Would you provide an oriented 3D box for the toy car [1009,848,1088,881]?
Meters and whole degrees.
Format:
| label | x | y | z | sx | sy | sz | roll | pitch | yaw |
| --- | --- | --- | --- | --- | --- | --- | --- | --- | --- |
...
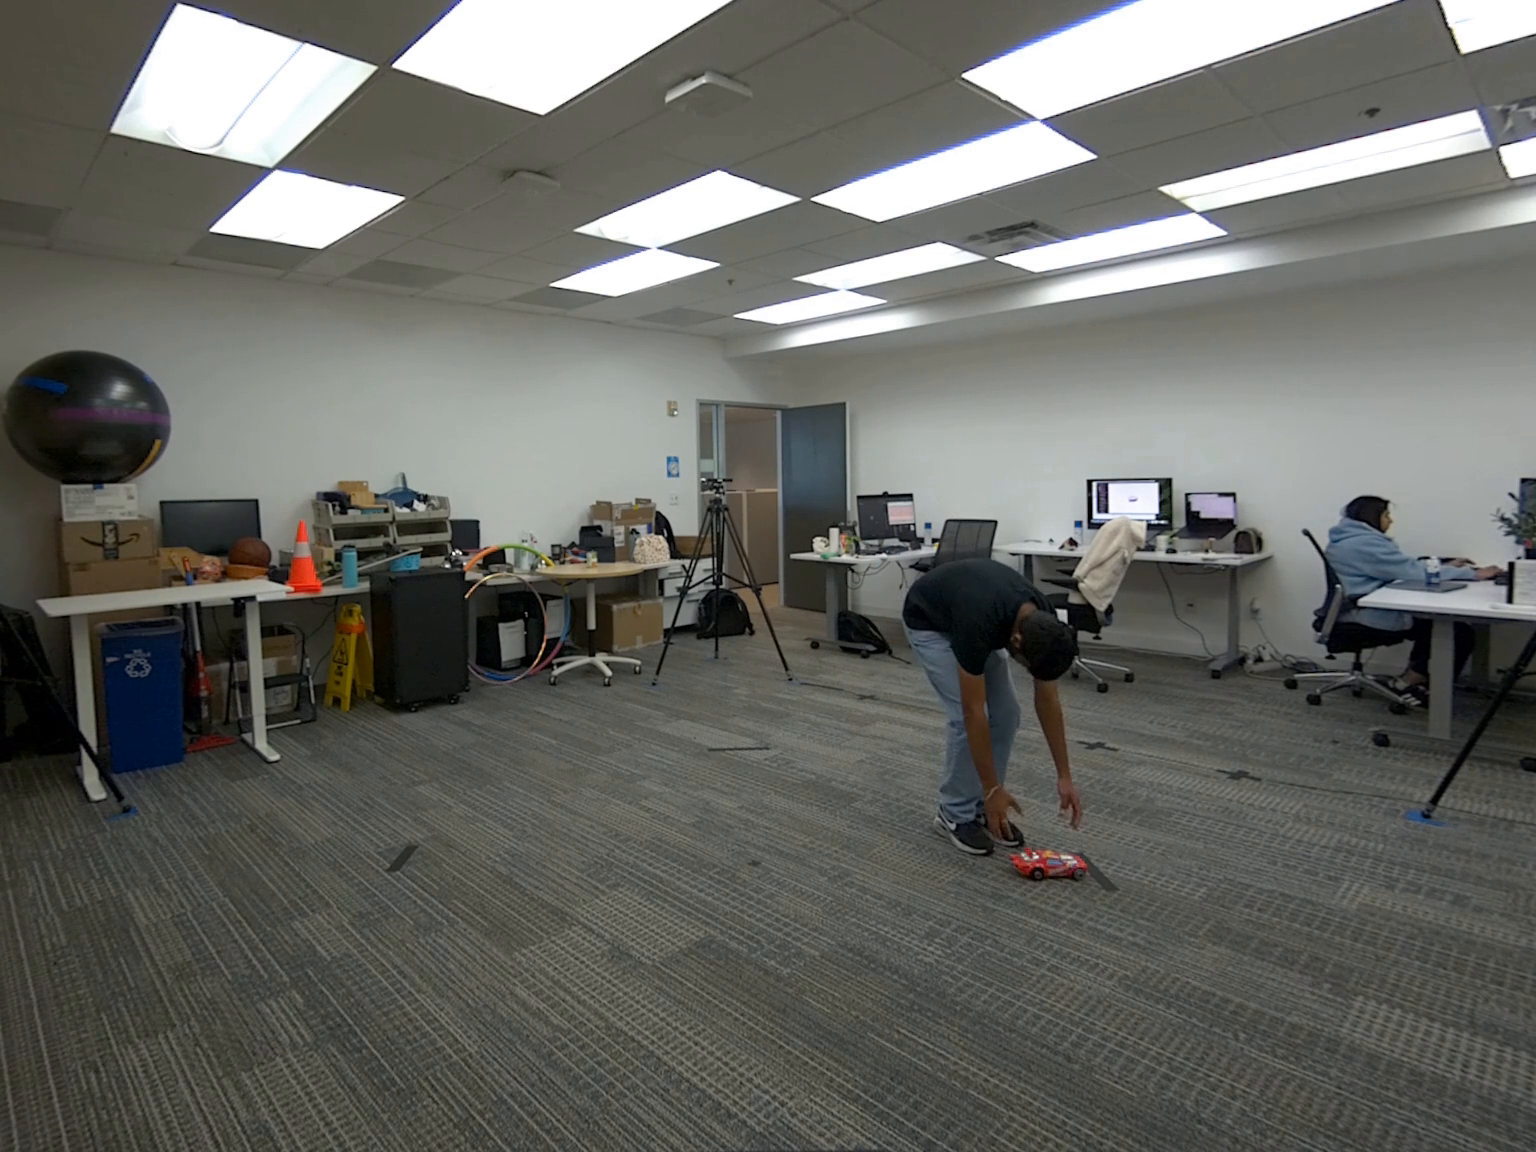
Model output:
| label | x | y | z | sx | sy | sz | roll | pitch | yaw |
| --- | --- | --- | --- | --- | --- | --- | --- | --- | --- |
| toy car | 0.975 | 1.013 | 2.987 | 0.255 | 0.083 | 0.131 | 9 | 5 | 0 |
